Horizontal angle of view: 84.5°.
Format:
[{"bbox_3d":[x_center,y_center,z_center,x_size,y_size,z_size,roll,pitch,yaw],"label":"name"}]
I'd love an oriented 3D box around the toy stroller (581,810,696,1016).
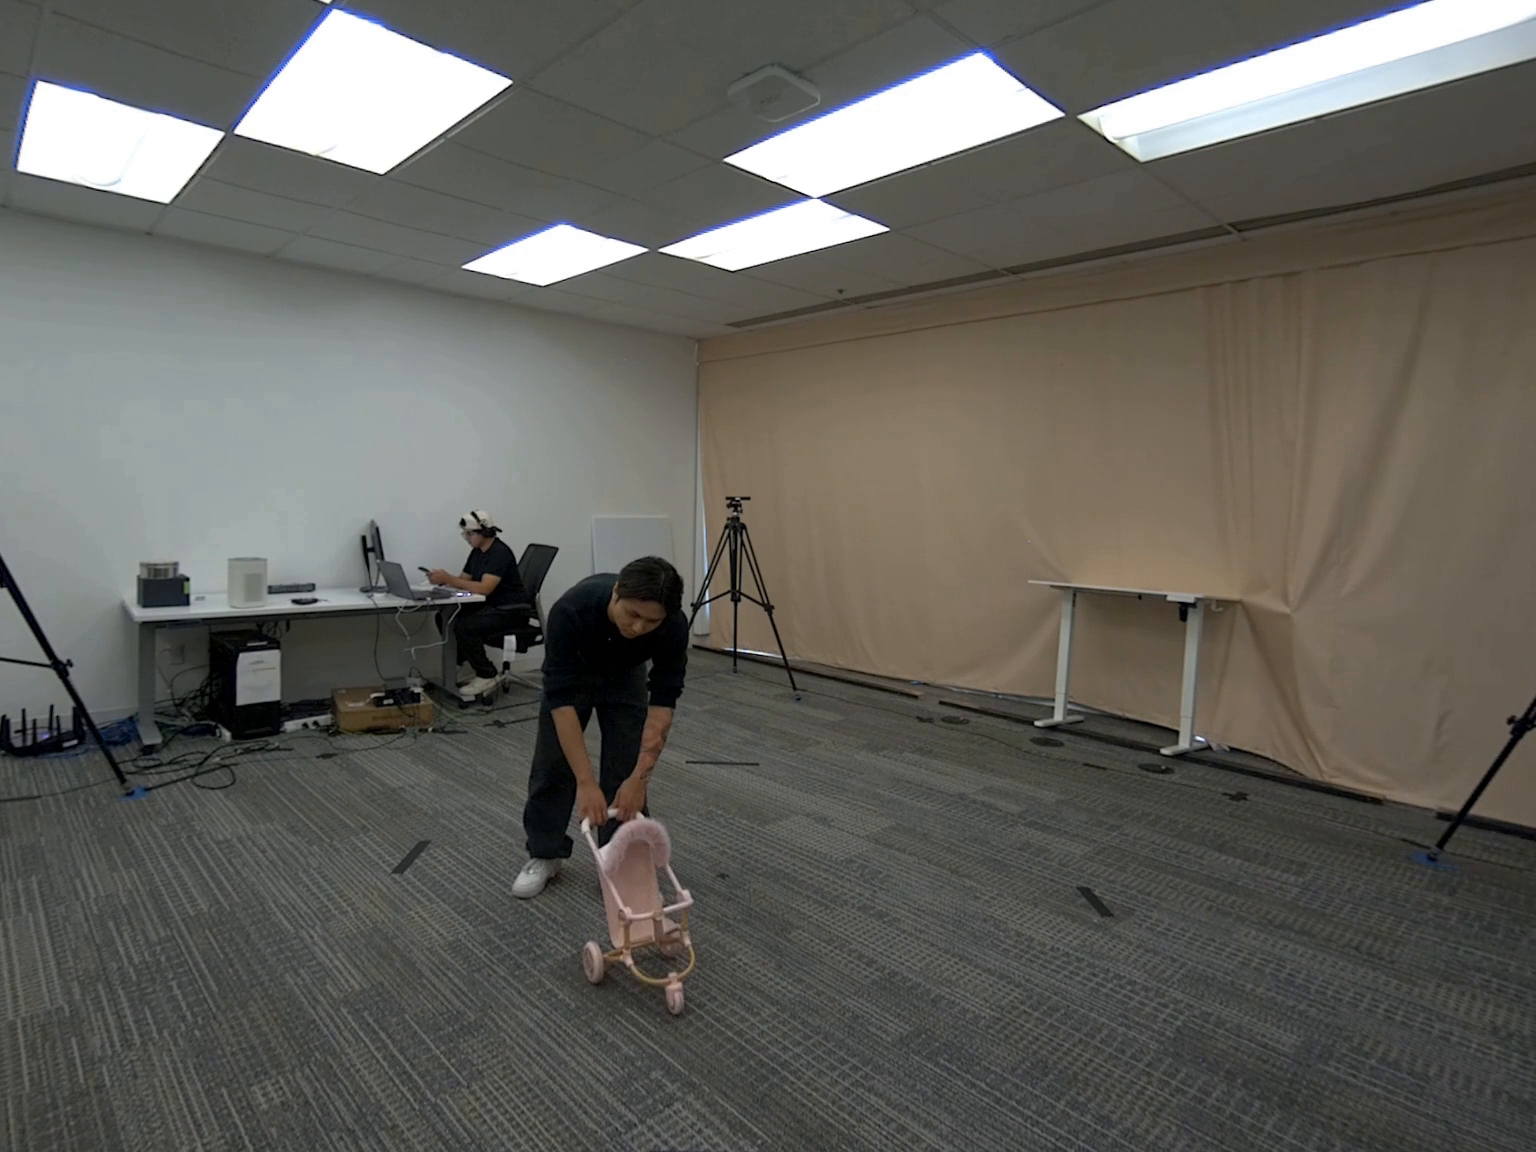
[{"bbox_3d":[-0.374,0.940,2.428,0.276,0.540,0.345,-2,-13,-32],"label":"toy stroller"}]
